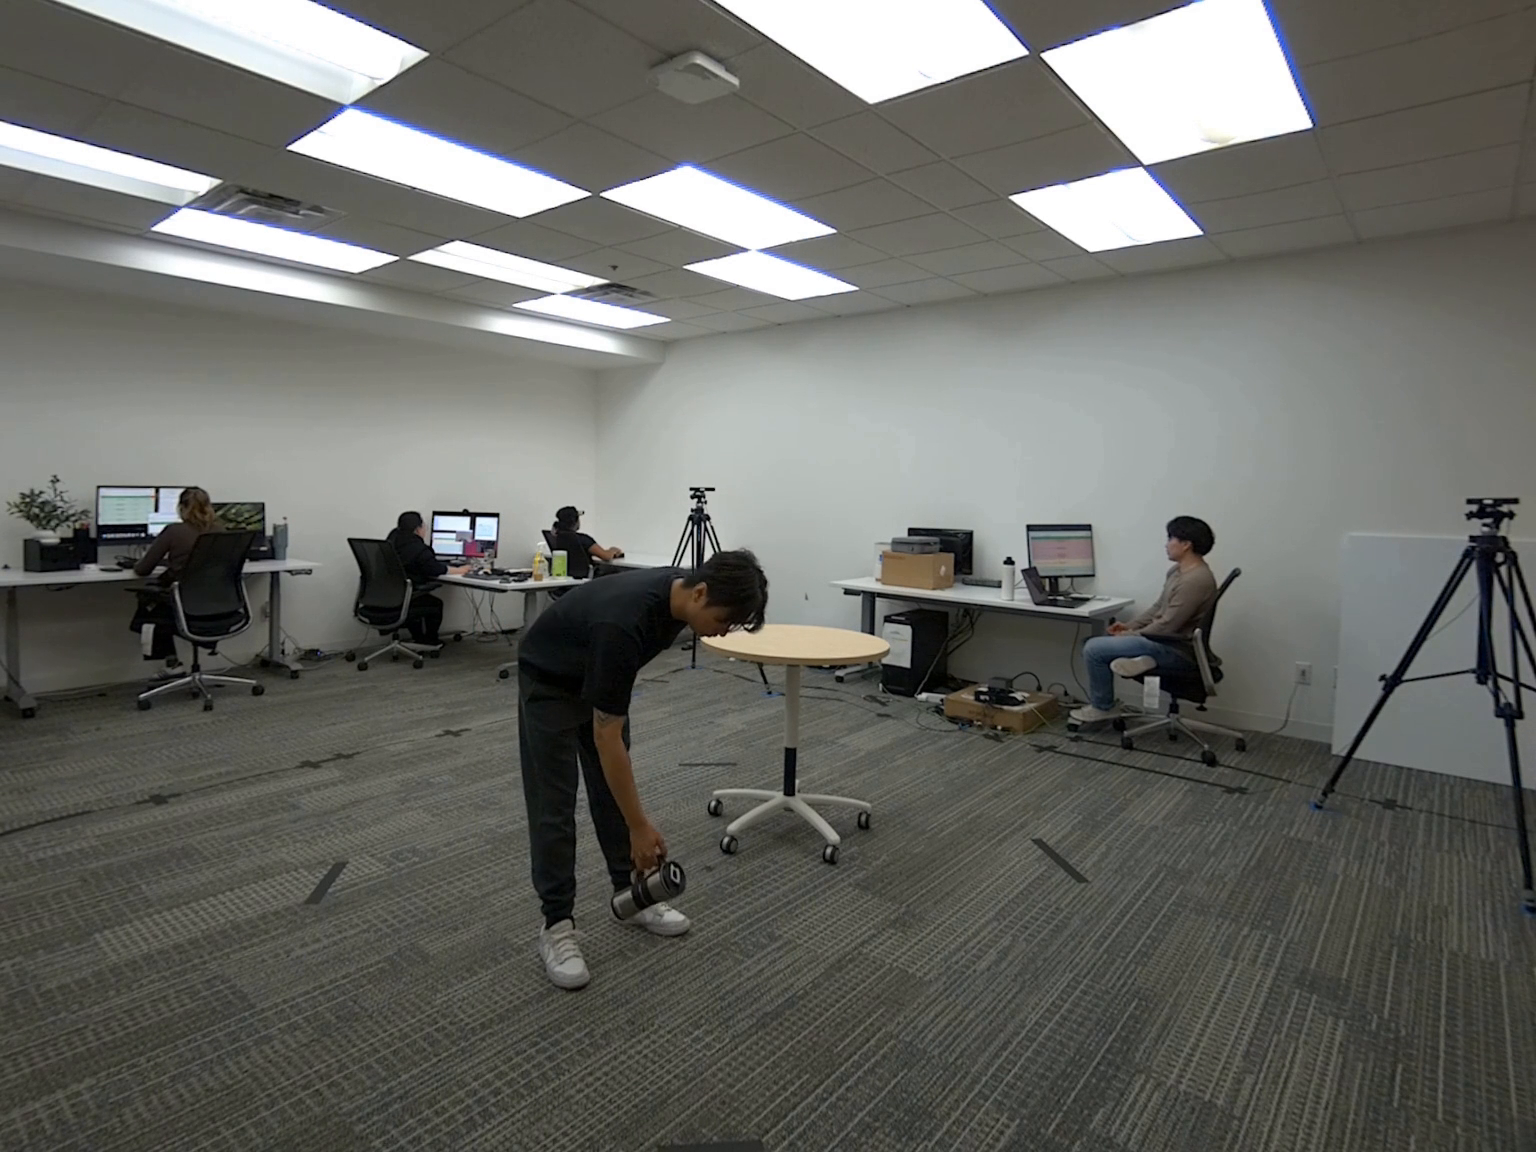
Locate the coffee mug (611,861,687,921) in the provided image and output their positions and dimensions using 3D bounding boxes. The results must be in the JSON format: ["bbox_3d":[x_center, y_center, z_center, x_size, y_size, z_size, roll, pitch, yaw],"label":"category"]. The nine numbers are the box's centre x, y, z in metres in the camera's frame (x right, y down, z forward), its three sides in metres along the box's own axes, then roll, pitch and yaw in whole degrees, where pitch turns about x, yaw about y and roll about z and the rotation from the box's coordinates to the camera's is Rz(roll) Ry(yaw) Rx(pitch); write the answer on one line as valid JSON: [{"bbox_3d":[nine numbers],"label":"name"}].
[{"bbox_3d":[-0.336,0.820,2.293,0.204,0.126,0.084,-34,-46,21],"label":"coffee mug"}]
